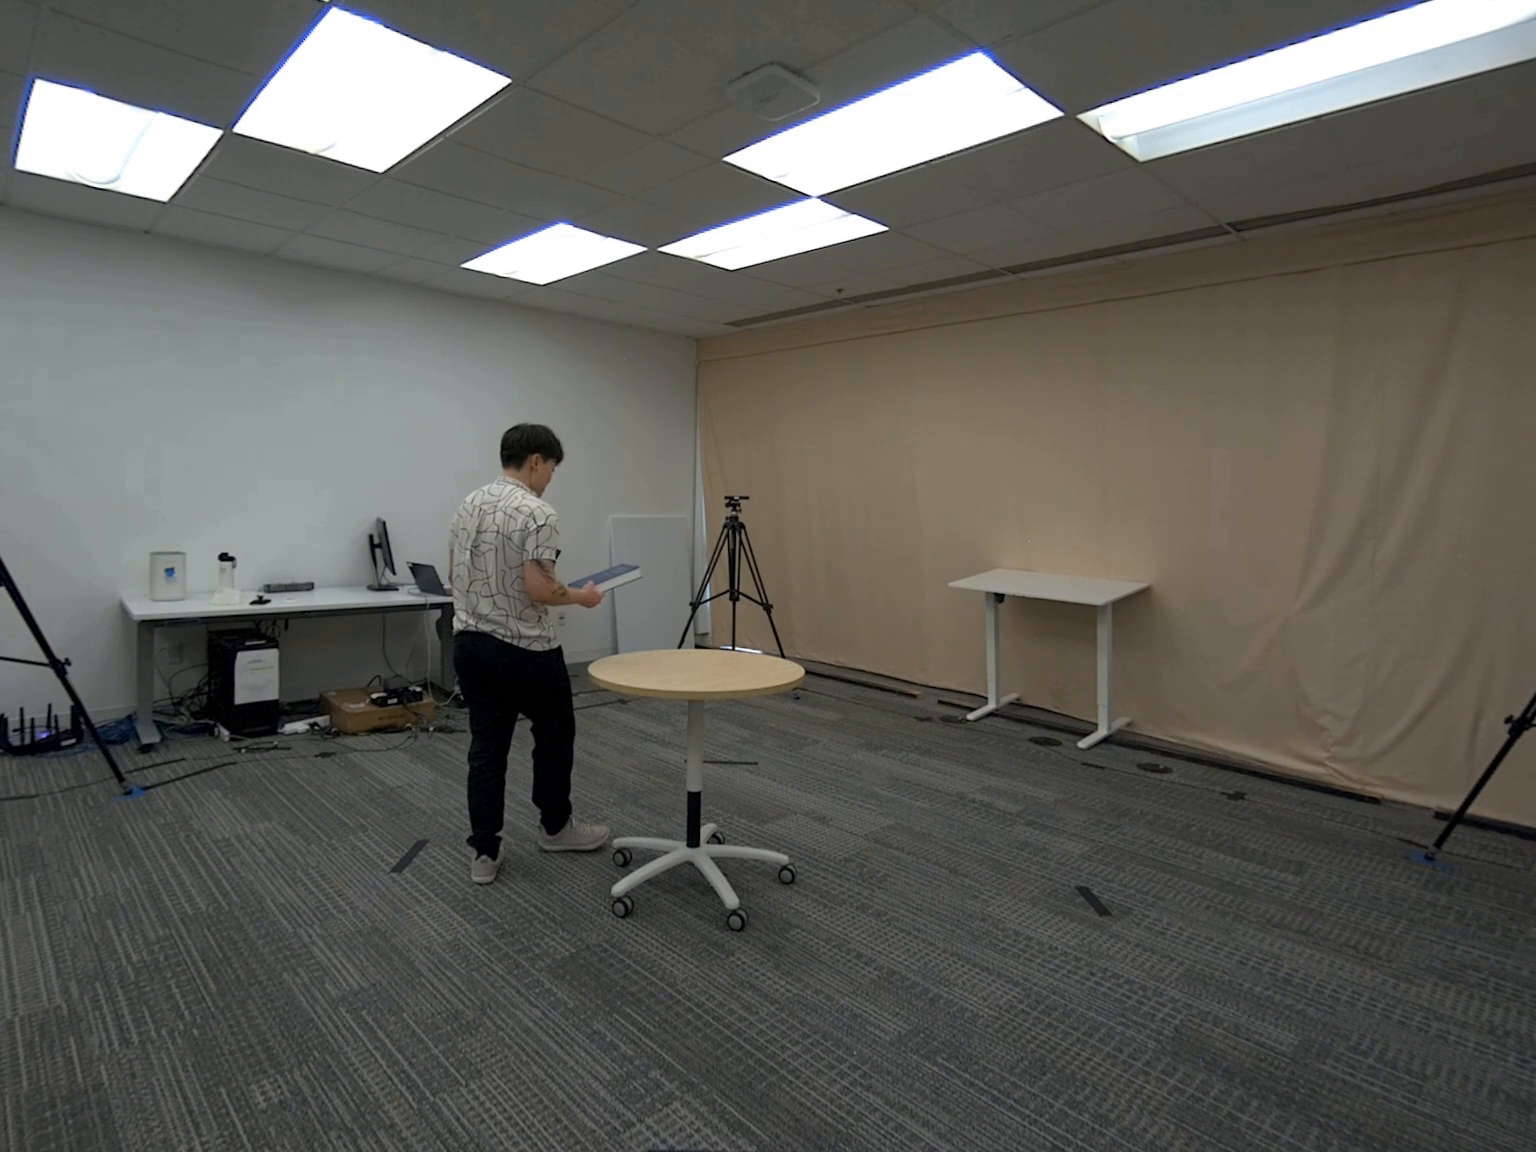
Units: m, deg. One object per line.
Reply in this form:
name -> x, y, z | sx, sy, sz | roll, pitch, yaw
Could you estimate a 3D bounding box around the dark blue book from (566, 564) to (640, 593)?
dark blue book -> -0.651, 0.020, 3.294 | 0.242, 0.044, 0.167 | -22, 18, -33
